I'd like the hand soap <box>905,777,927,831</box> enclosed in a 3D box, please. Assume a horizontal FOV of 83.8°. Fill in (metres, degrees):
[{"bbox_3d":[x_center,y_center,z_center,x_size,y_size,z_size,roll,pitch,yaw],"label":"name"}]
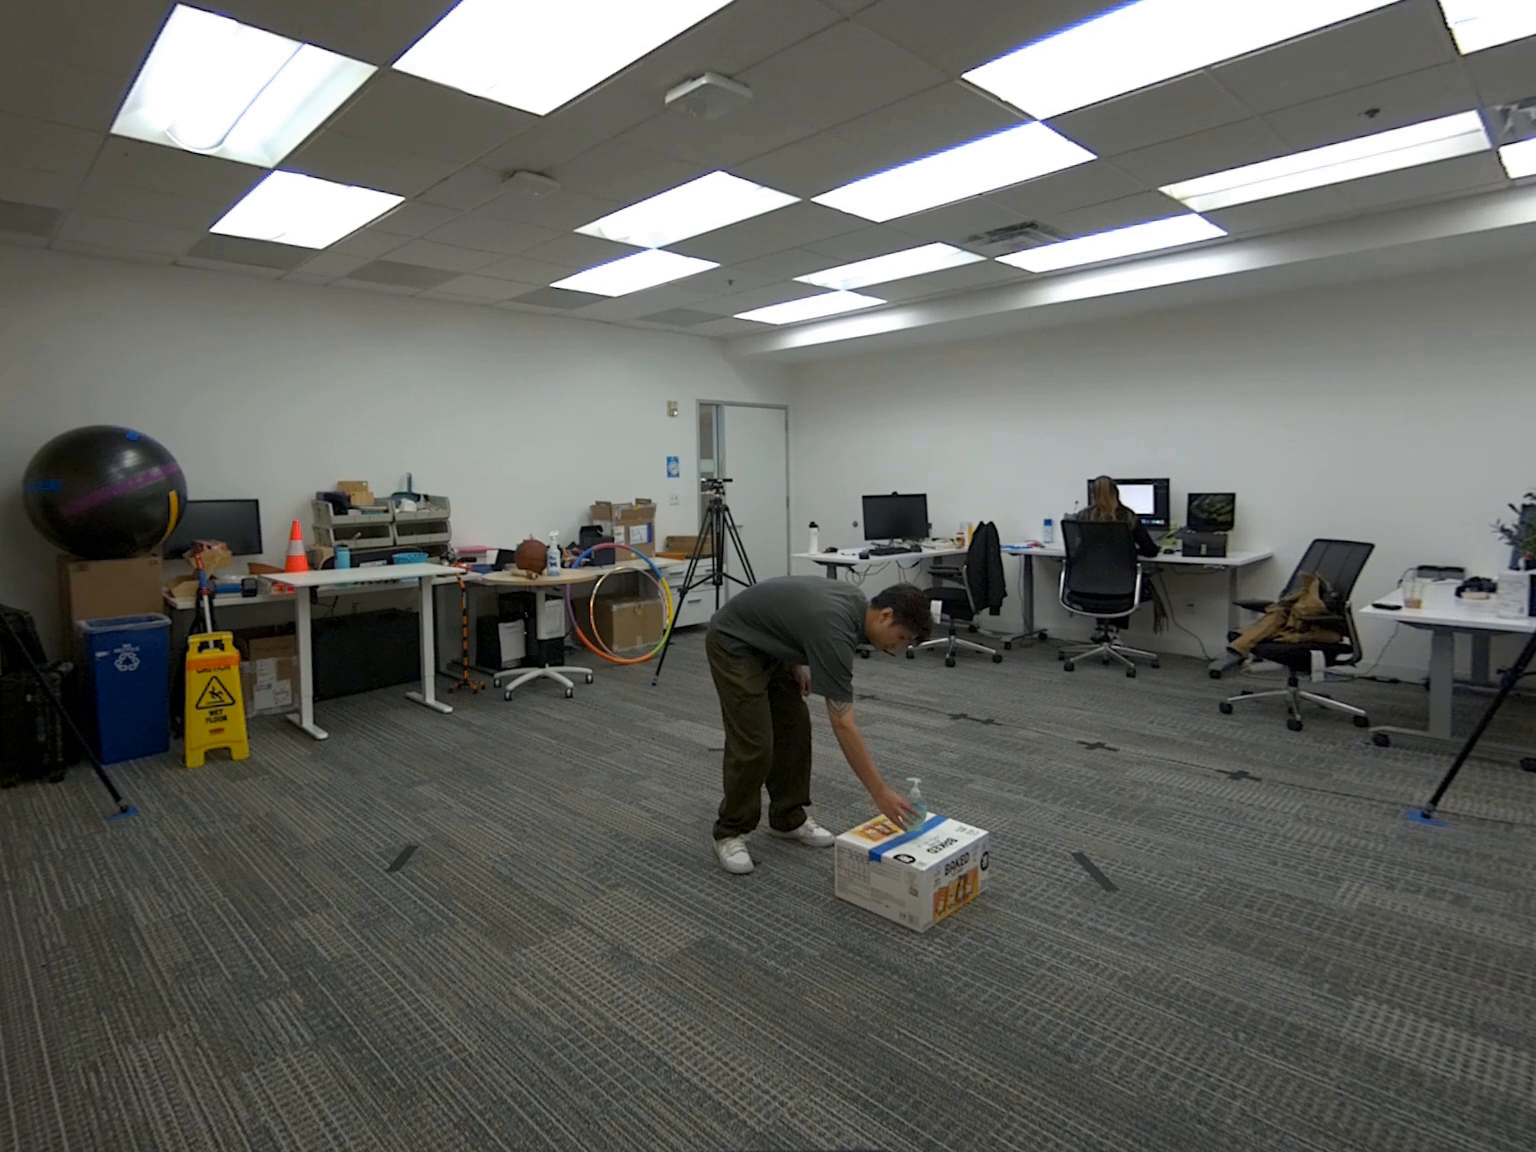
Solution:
[{"bbox_3d":[0.480,0.754,2.812,0.085,0.167,0.043,5,5,4],"label":"hand soap"}]
